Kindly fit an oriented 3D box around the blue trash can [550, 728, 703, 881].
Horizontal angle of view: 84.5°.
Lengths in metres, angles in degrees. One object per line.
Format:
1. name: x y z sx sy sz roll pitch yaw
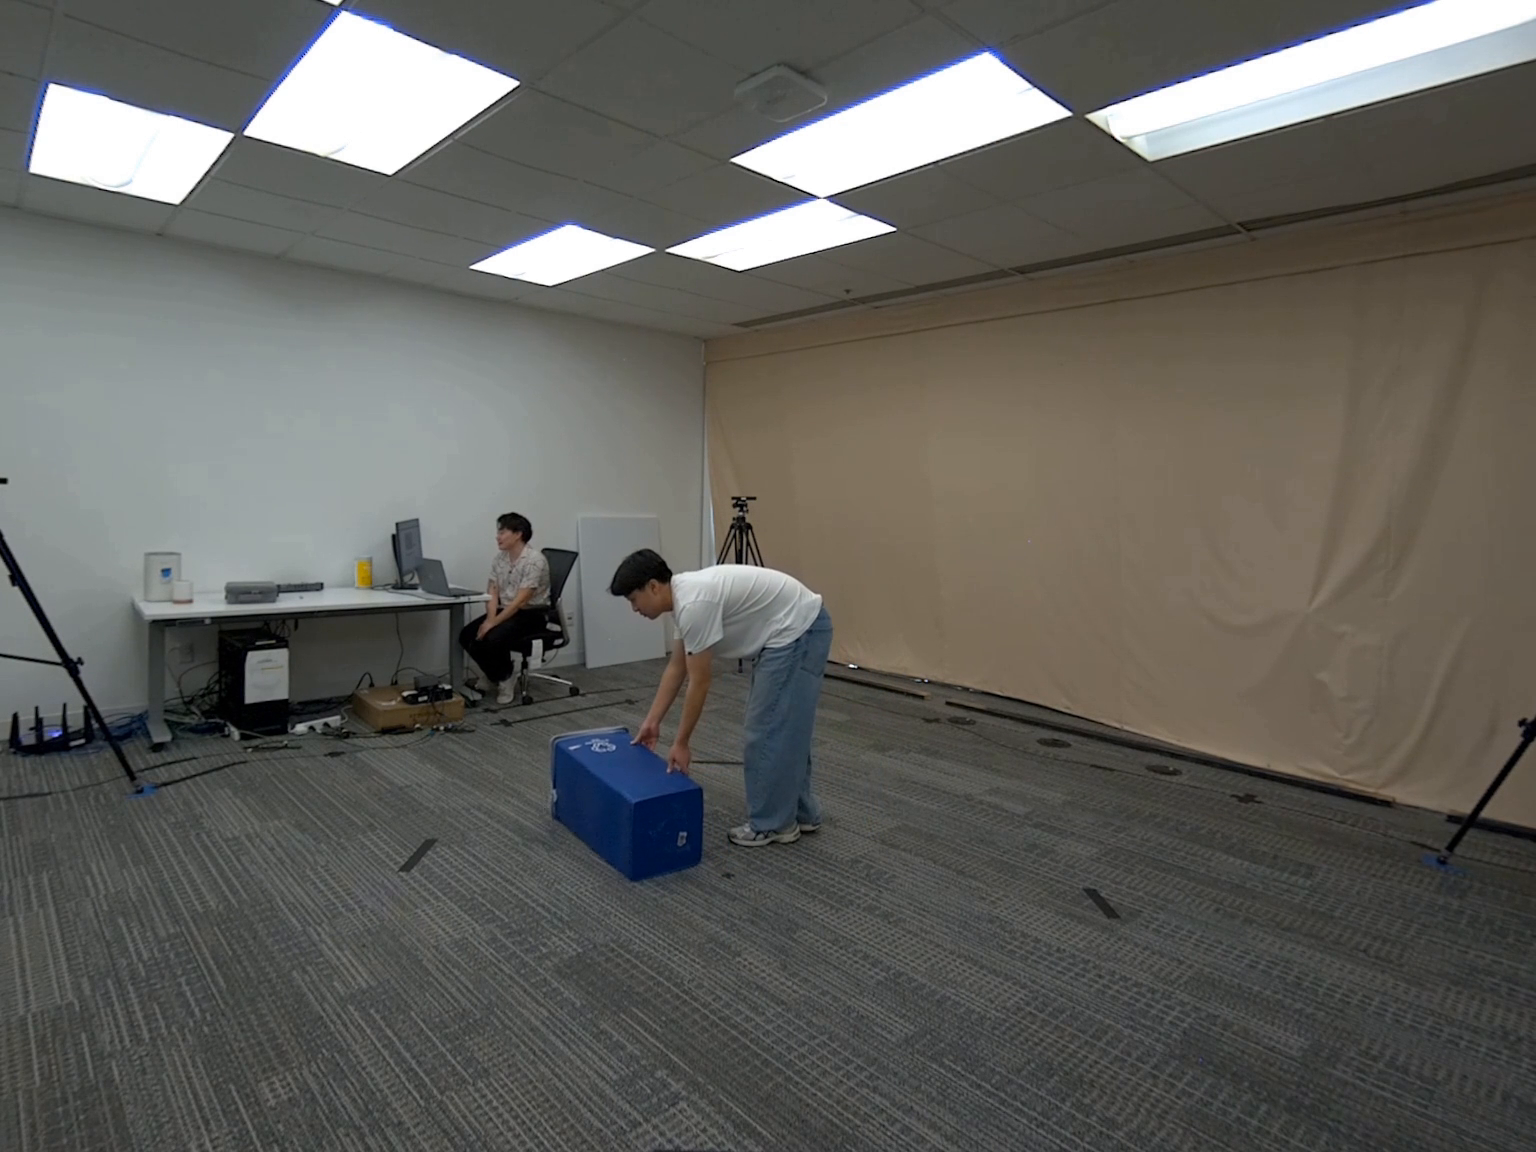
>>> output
1. blue trash can: -0.575 0.903 3.392 0.366 0.376 0.732 -2 9 -36
